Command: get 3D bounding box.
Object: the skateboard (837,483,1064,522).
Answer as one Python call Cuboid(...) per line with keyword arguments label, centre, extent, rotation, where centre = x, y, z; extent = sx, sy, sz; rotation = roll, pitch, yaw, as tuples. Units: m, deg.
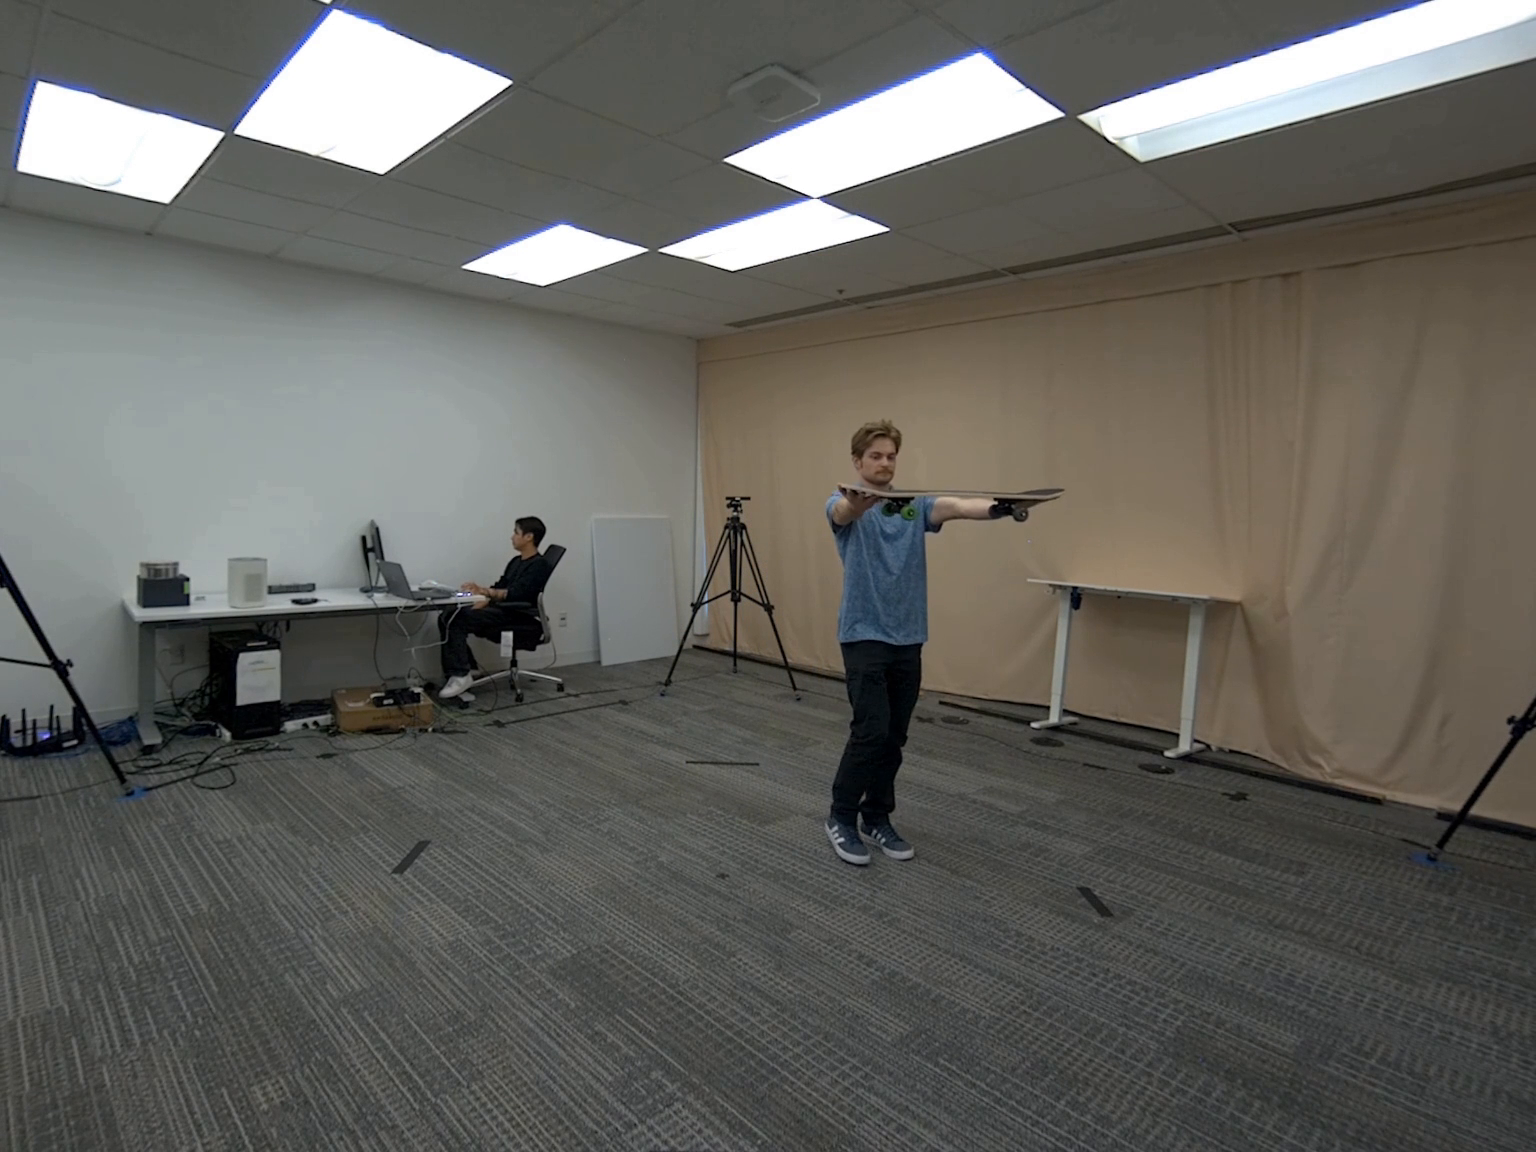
Cuboid(label="skateboard", centre=(0.603, -0.242, 2.793), extent=(0.777, 0.110, 0.196), rotation=(-1, 8, -14))
